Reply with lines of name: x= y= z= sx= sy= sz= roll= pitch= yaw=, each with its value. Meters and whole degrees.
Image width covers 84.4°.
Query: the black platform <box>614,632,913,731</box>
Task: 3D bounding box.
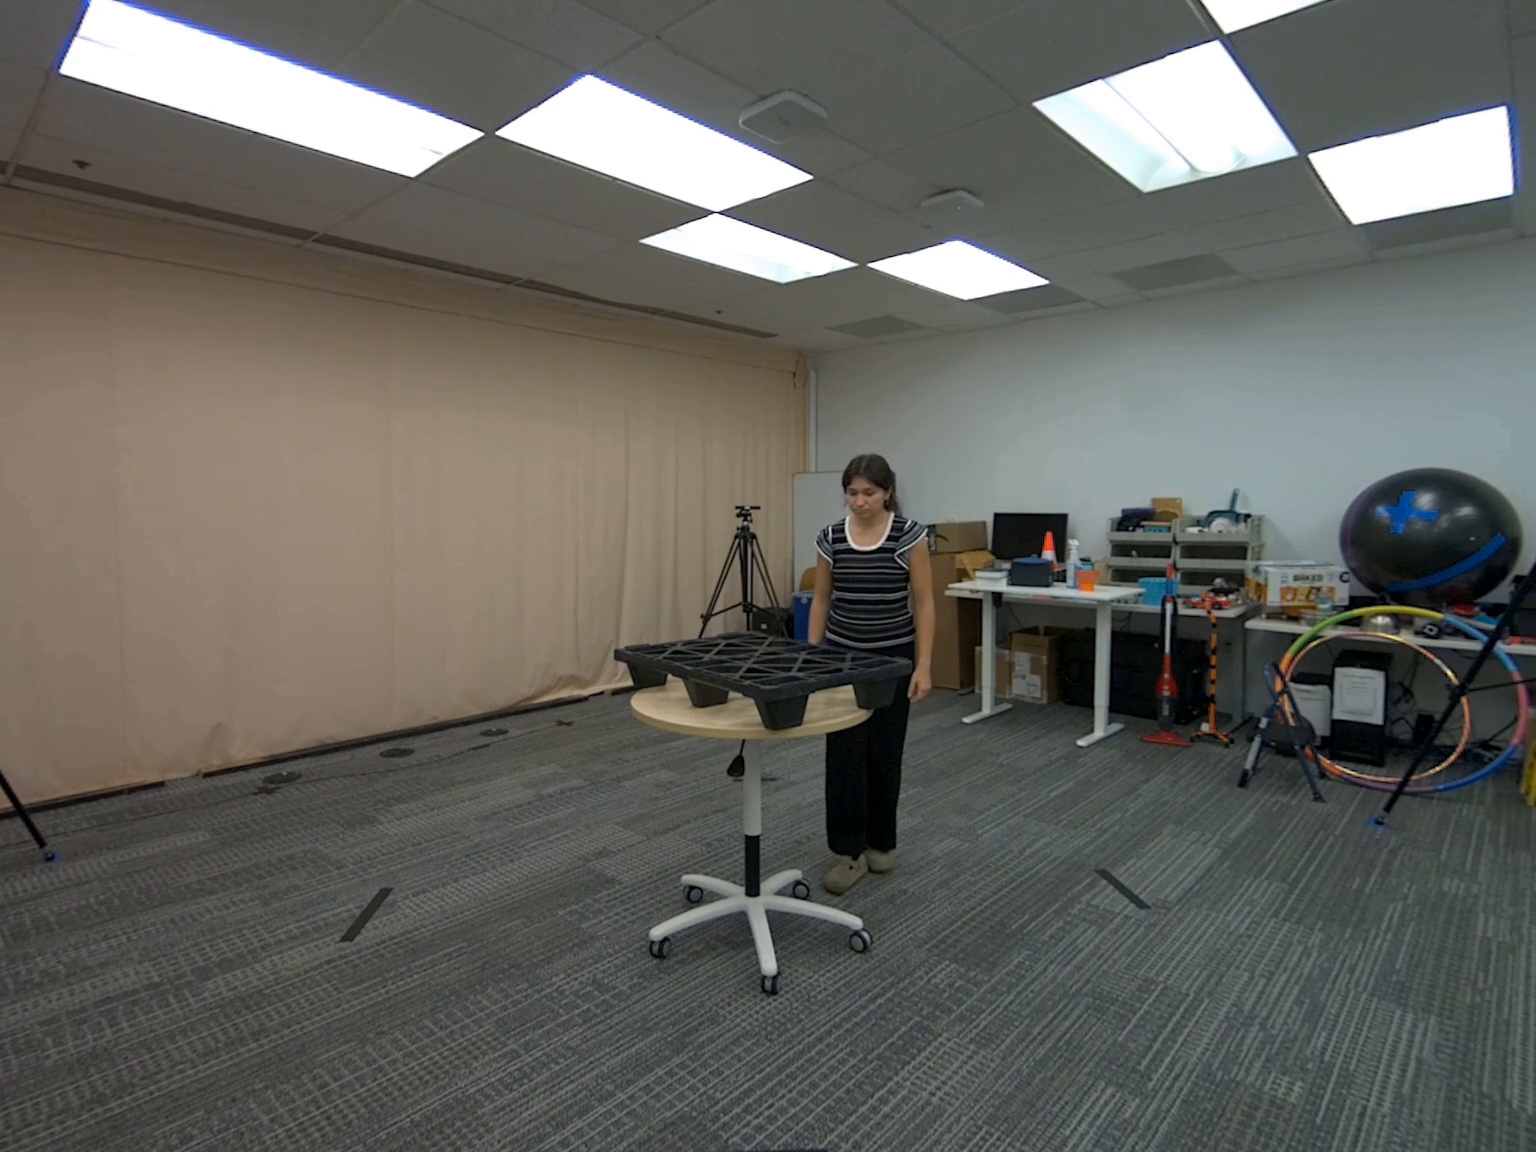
black platform: x=-0.030 y=0.320 z=2.700 sx=0.587 sy=0.143 sz=0.832 roll=-5 pitch=7 yaw=-39
